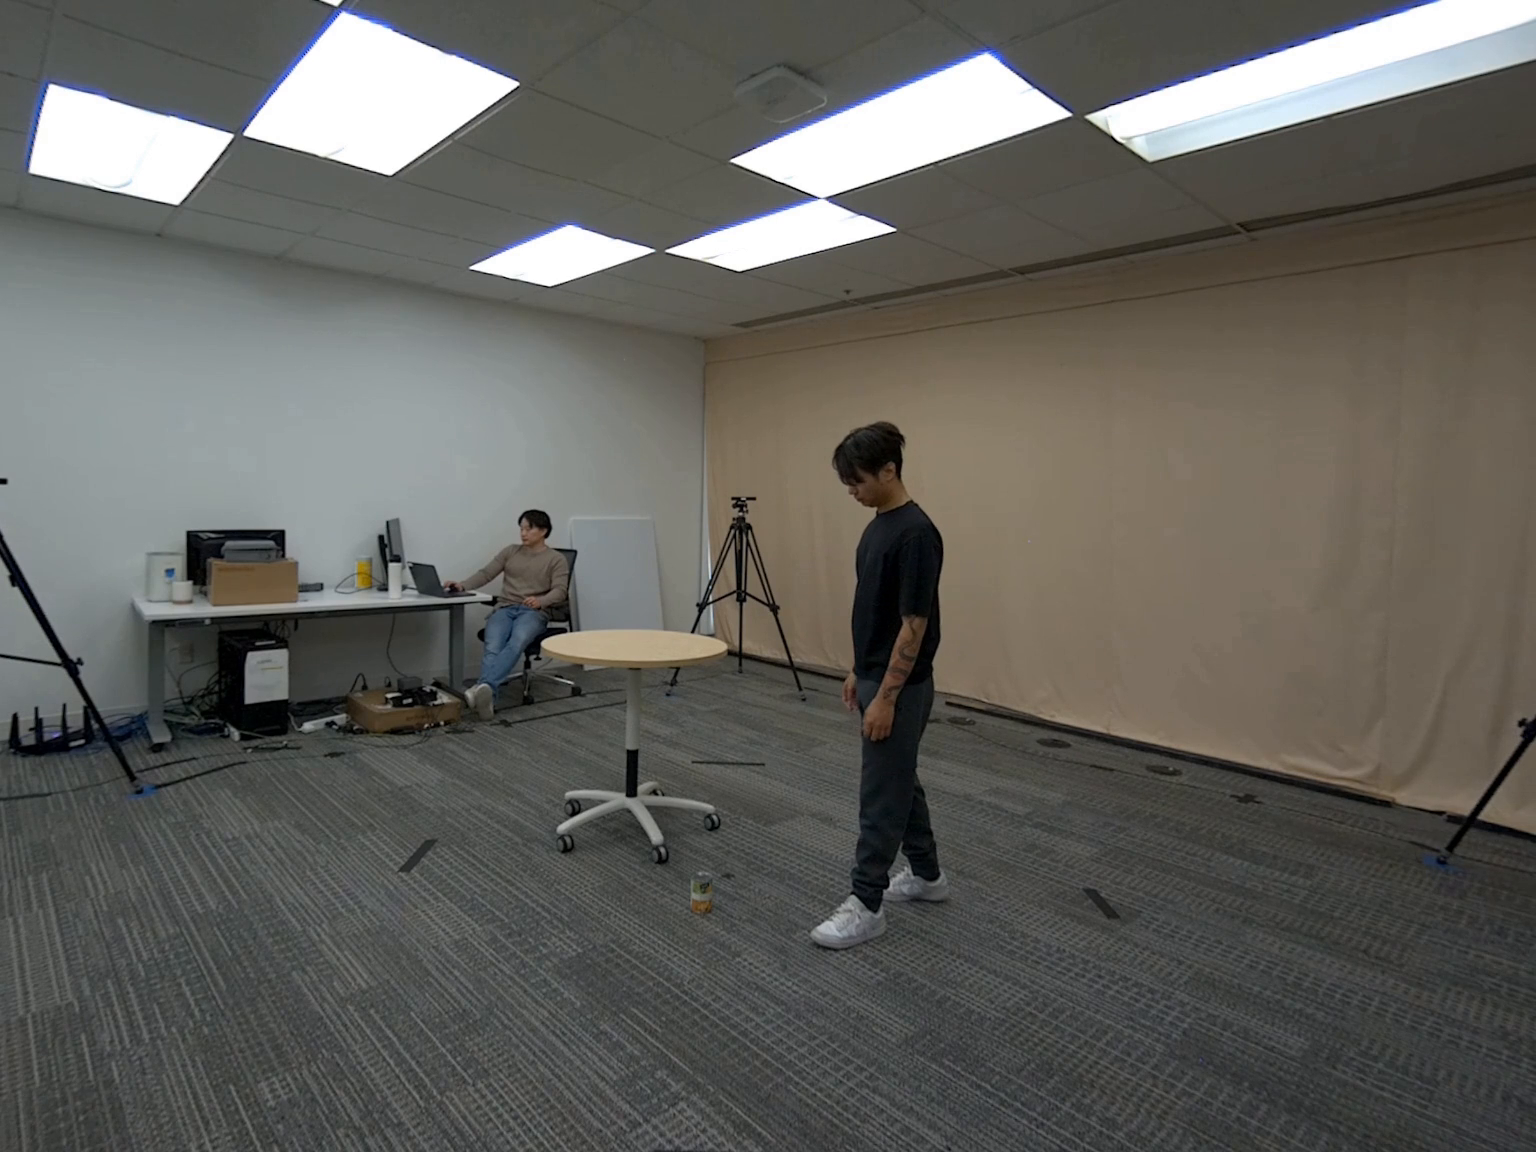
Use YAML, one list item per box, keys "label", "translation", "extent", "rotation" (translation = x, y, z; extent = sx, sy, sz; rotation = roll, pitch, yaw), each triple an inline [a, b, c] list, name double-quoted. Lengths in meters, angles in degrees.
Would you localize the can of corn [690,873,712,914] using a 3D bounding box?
- label: "can of corn"
  translation: [-0.236, 1.077, 2.851]
  extent: [0.074, 0.111, 0.074]
  rotation: [2, 2, -1]
